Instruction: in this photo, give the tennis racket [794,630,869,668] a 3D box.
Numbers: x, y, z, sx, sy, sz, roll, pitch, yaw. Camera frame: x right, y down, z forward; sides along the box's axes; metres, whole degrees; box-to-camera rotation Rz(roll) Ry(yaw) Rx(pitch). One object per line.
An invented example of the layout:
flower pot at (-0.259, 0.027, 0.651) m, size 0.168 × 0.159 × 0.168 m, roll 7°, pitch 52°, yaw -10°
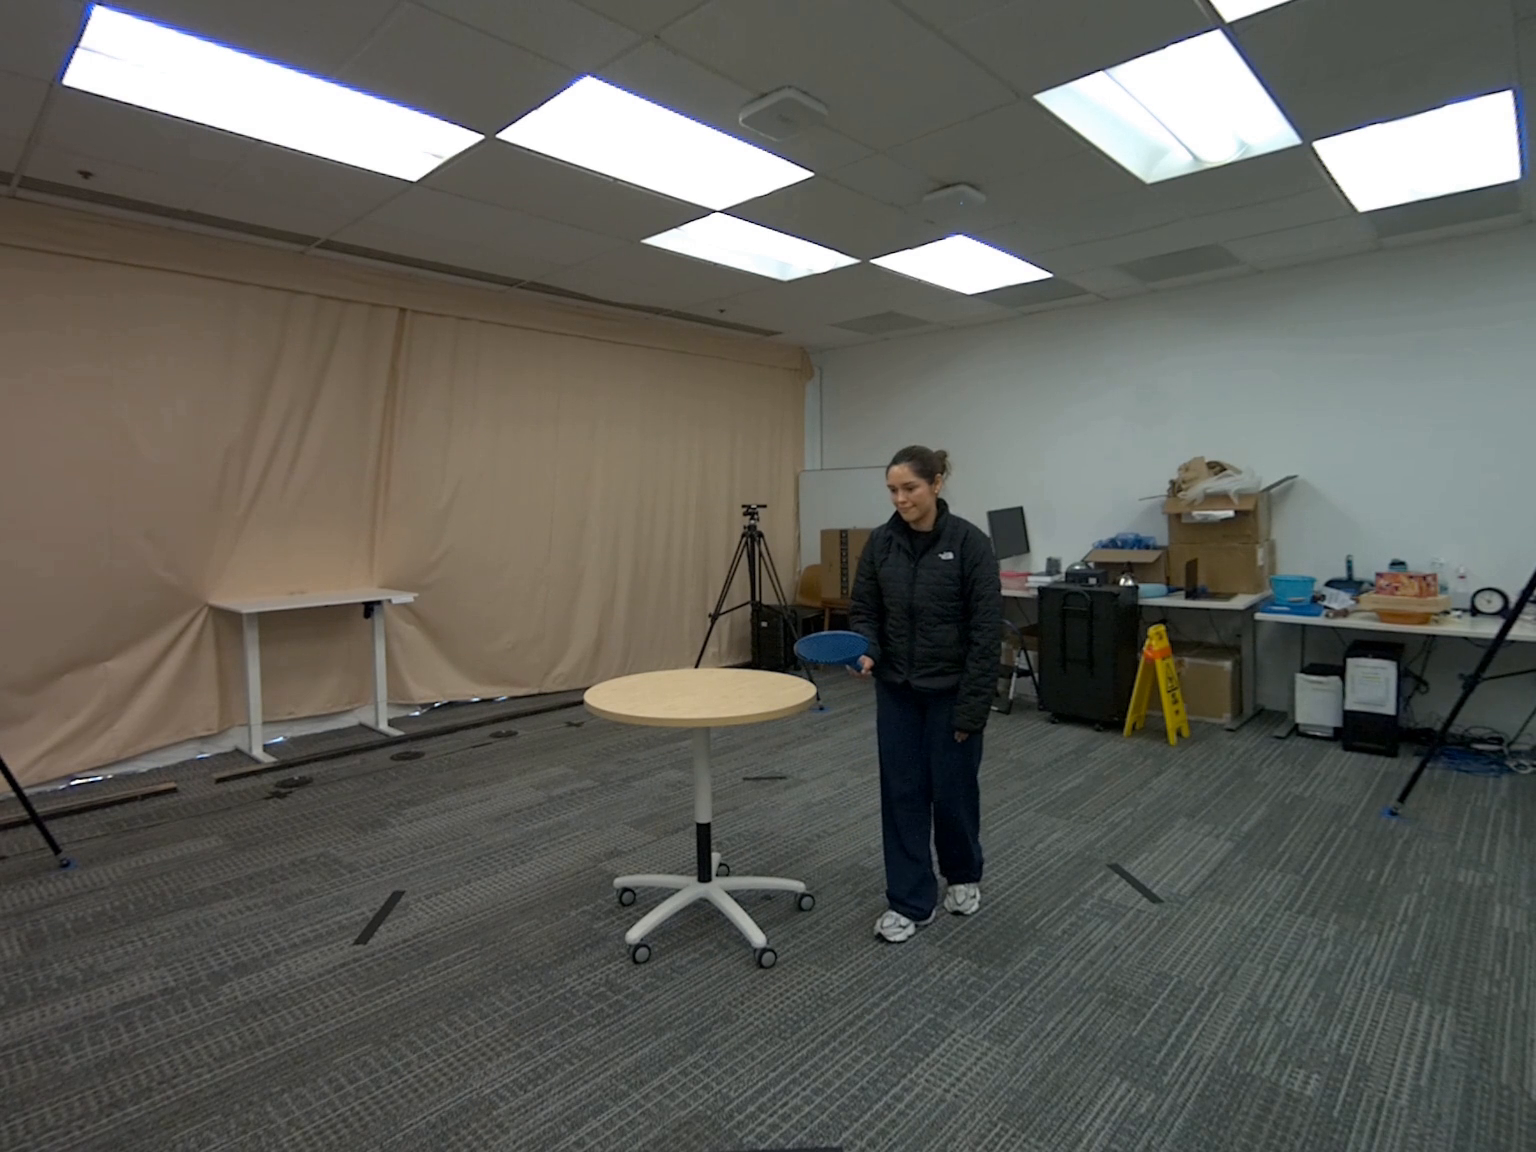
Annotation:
tennis racket at (0.238, 0.235, 2.534) m, size 0.218 × 0.032 × 0.417 m, roll -16°, pitch -28°, yaw 25°
